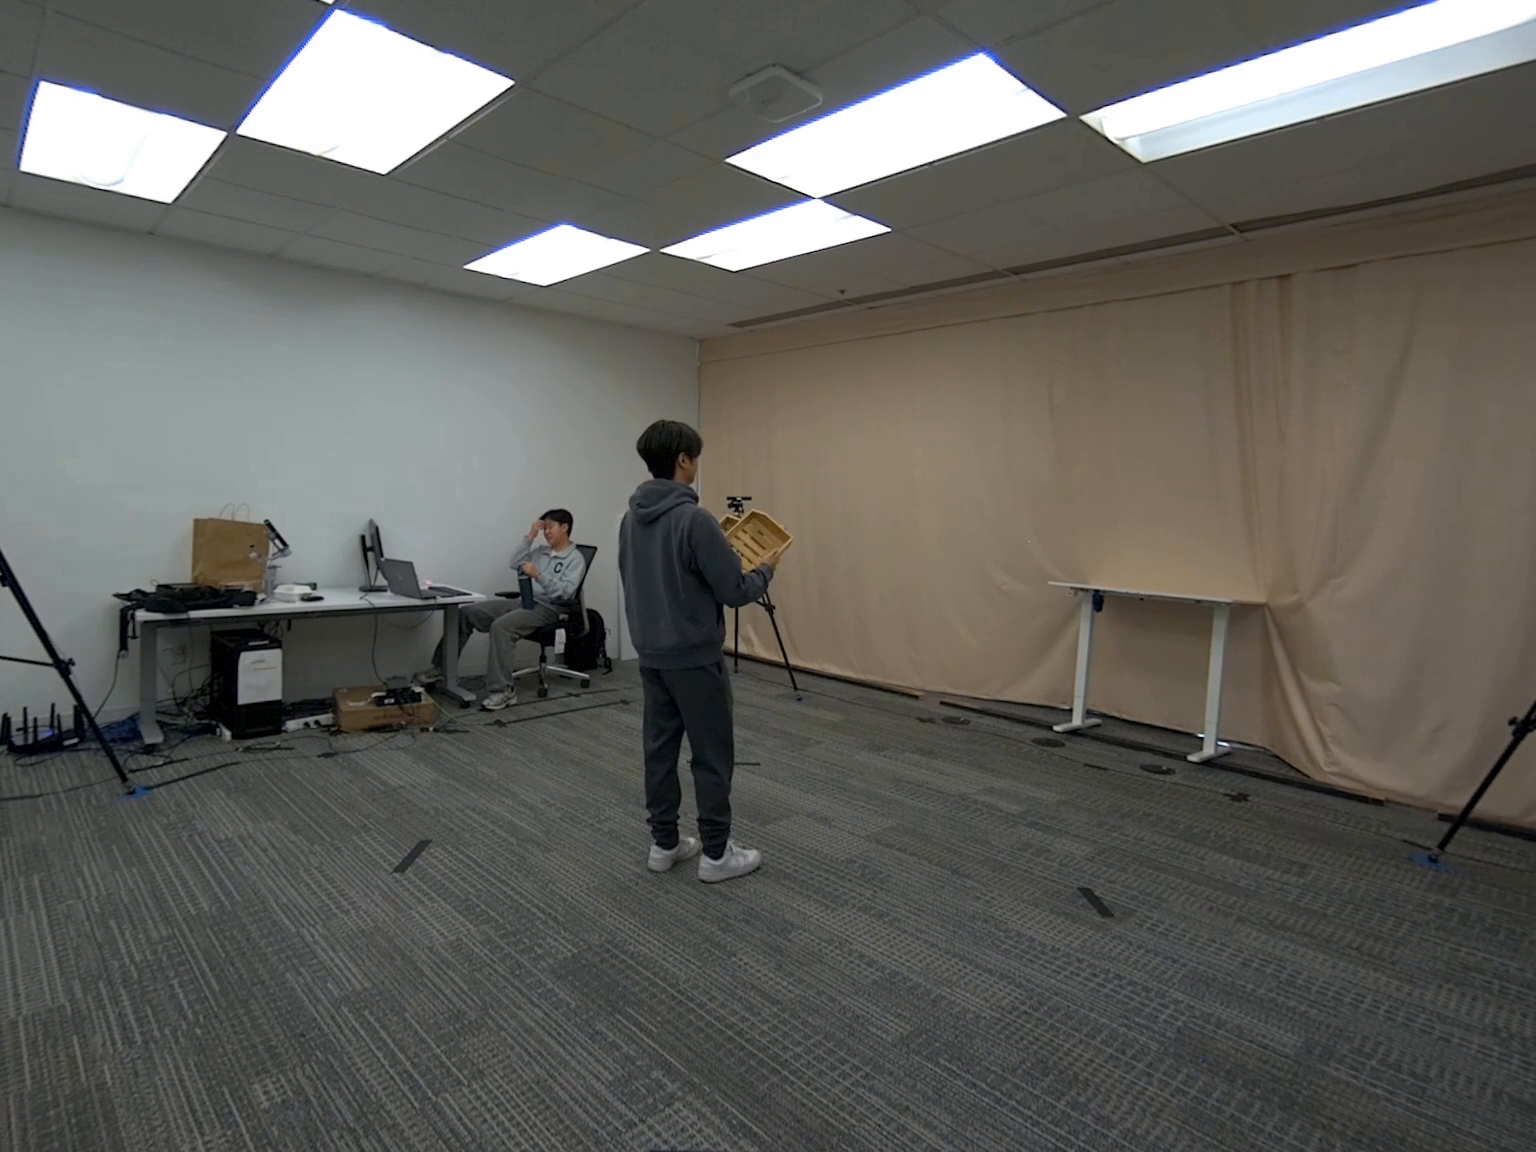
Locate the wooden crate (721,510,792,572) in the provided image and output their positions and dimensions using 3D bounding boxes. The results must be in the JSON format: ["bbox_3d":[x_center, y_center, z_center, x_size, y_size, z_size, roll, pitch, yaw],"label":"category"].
[{"bbox_3d":[-0.135,-0.105,3.362,0.324,0.305,0.271,-44,-9,-28],"label":"wooden crate"}]
